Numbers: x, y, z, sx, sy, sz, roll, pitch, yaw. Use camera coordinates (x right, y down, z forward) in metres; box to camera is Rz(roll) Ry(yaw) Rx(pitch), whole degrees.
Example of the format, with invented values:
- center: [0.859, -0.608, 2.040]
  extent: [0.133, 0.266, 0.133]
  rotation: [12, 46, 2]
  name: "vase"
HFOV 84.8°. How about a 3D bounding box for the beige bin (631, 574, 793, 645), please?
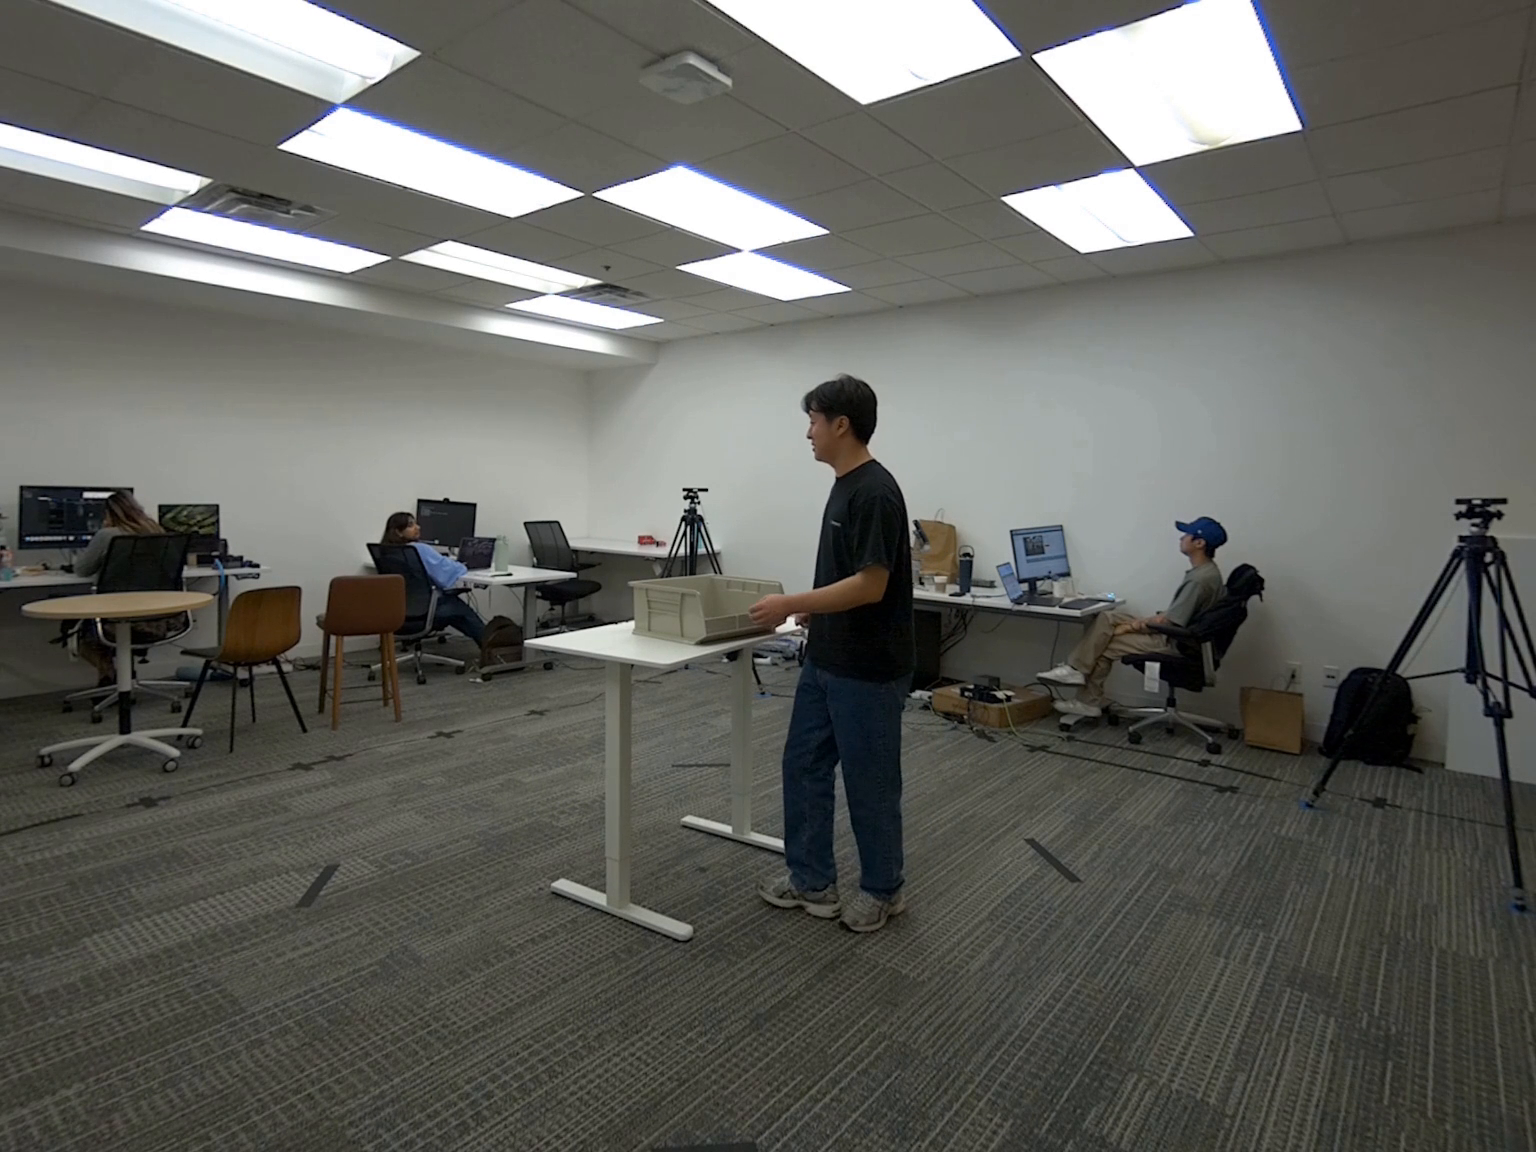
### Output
- center: [-0.217, 0.109, 2.983]
  extent: [0.390, 0.188, 0.410]
  rotation: [3, 6, 42]
  name: "beige bin"
